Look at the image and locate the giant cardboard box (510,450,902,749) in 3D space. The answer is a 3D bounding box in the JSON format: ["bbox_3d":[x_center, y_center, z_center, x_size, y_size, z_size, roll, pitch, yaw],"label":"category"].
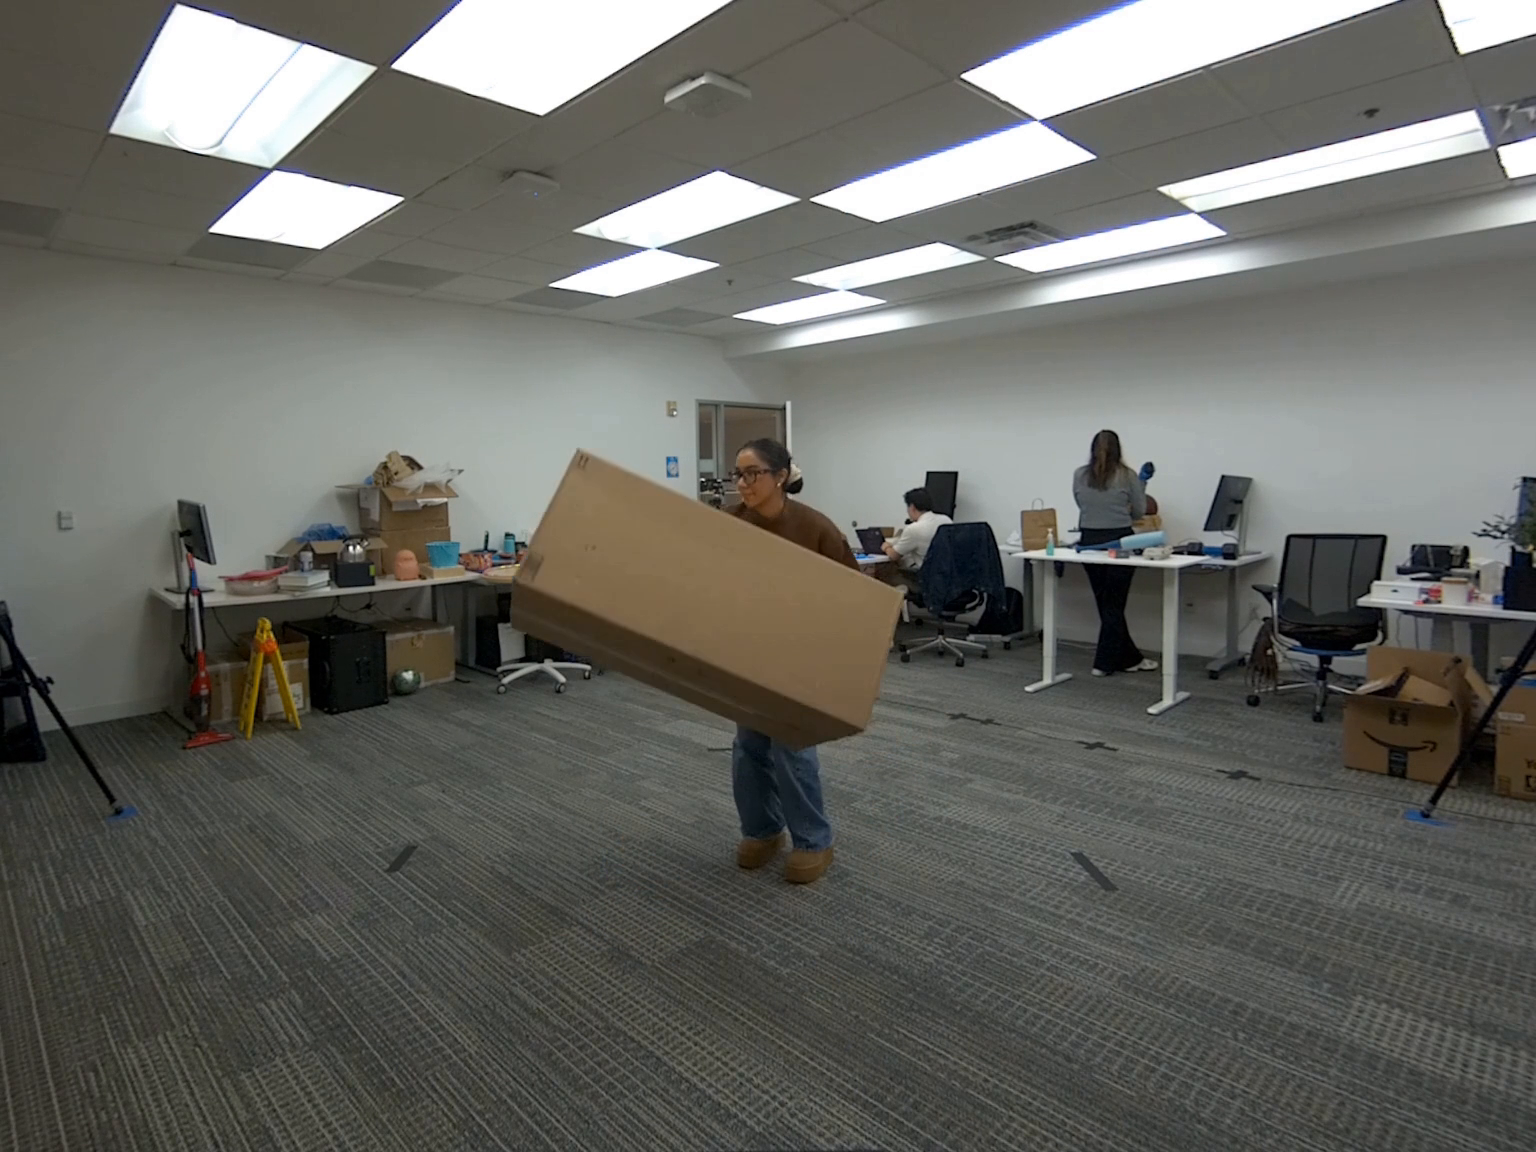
[{"bbox_3d":[-0.201,0.100,2.597,1.018,0.431,0.576,24,-22,-7],"label":"giant cardboard box"}]
